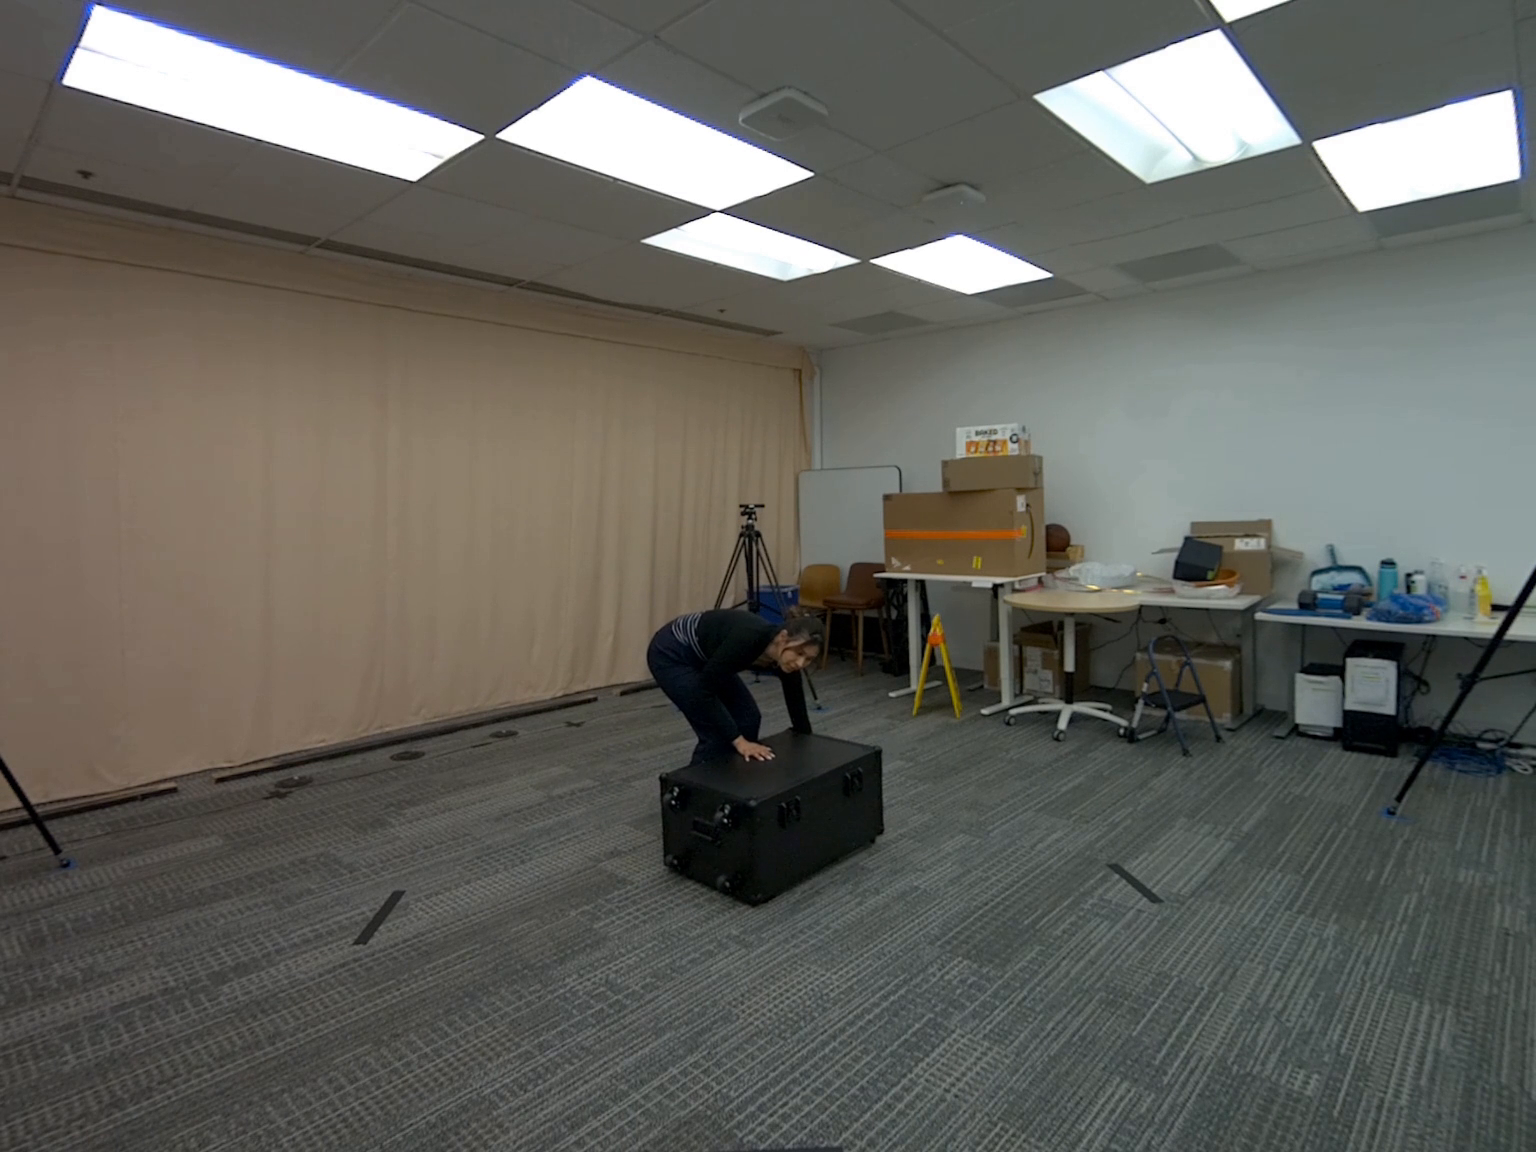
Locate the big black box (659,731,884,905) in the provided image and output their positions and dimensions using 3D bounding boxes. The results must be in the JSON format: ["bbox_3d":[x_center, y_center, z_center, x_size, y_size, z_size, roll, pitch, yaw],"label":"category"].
[{"bbox_3d":[0.060,0.909,3.331,0.538,0.395,0.836,2,7,44],"label":"big black box"}]
